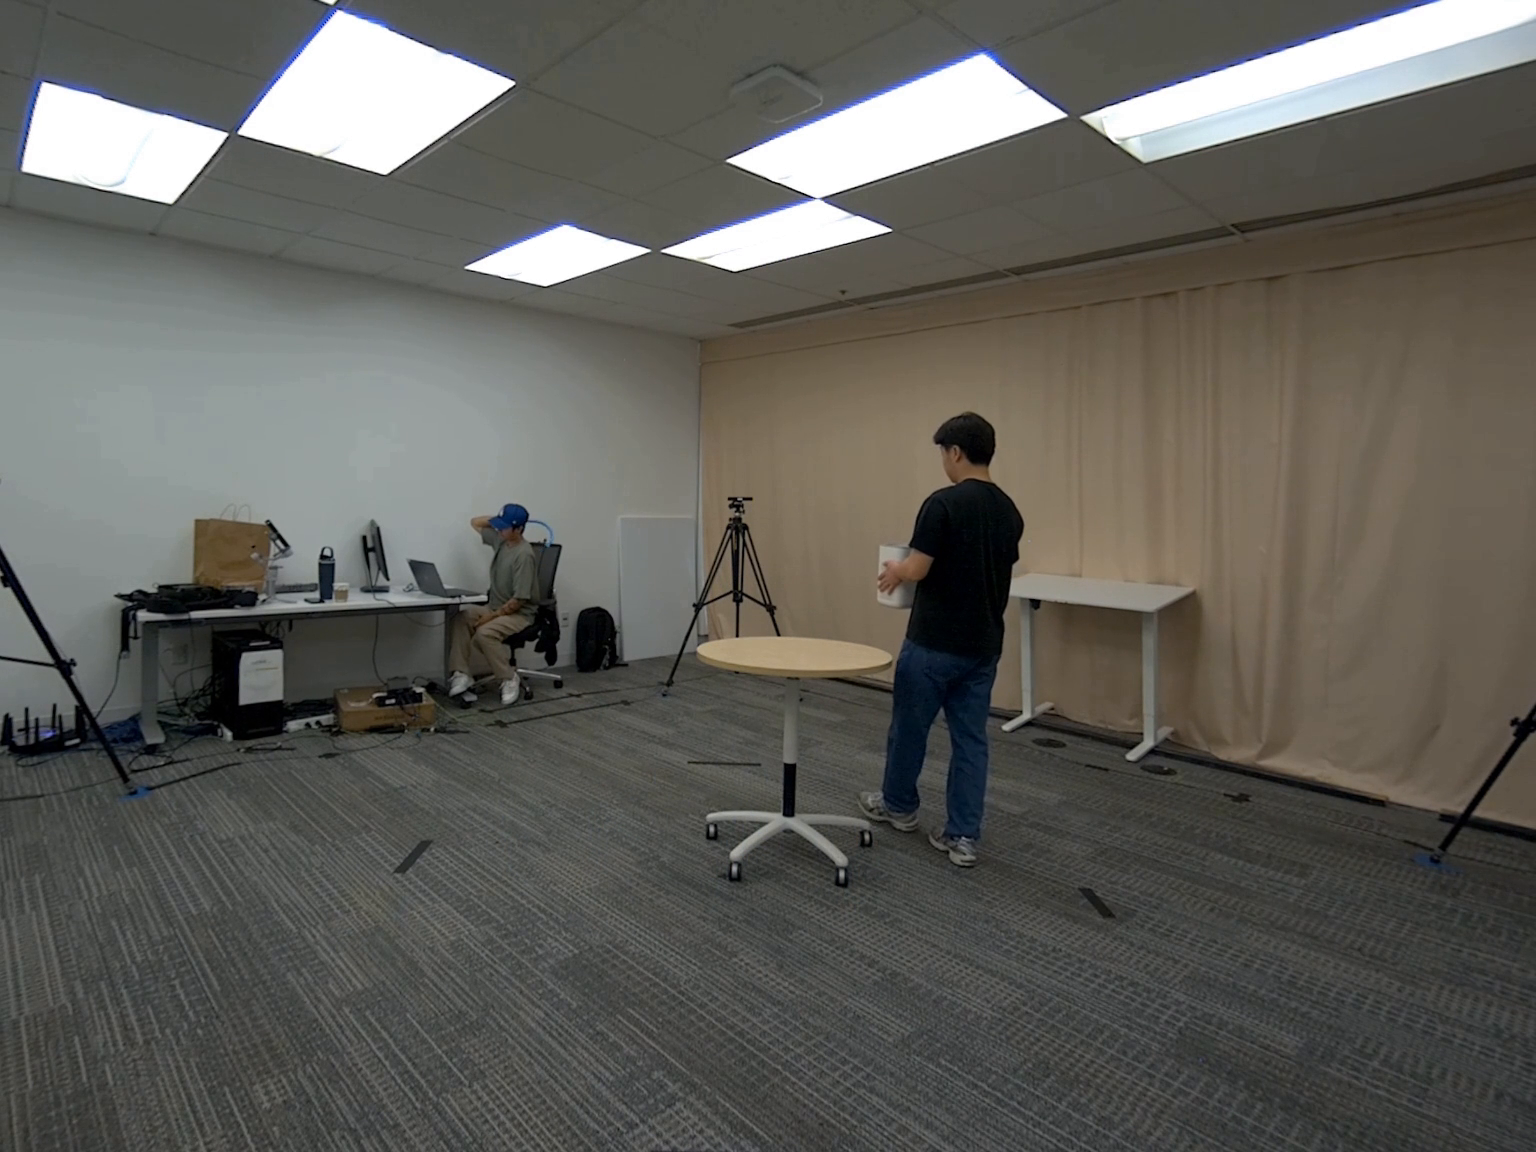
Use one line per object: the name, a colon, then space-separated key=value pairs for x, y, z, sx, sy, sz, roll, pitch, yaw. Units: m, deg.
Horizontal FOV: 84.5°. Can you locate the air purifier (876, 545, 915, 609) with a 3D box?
air purifier: x=0.574 y=0.000 z=3.605 sx=0.167 sy=0.264 sz=0.176 roll=-1 pitch=7 yaw=-34
